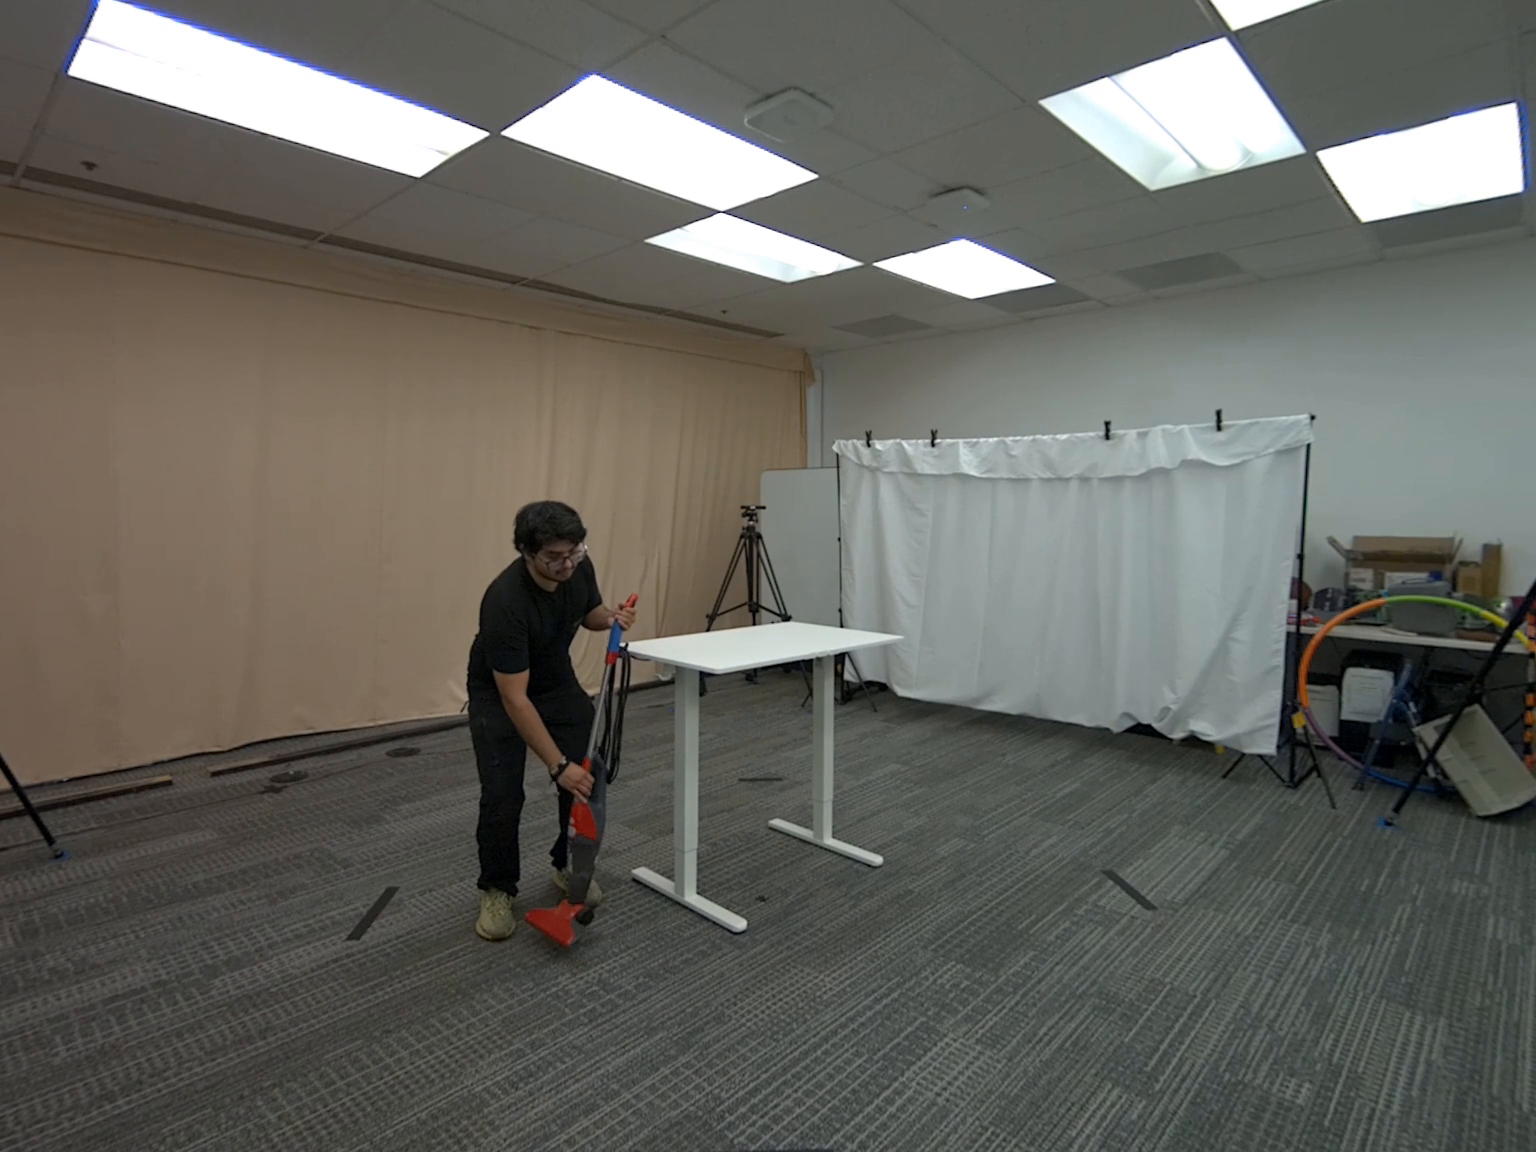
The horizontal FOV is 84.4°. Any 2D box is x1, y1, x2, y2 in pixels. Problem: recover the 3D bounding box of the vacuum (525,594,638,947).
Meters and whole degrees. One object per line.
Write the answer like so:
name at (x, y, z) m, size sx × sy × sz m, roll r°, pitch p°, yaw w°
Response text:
vacuum at (-0.534, 0.587, 2.711) m, size 0.261 × 1.052 × 0.139 m, roll 5°, pitch -10°, yaw 40°
